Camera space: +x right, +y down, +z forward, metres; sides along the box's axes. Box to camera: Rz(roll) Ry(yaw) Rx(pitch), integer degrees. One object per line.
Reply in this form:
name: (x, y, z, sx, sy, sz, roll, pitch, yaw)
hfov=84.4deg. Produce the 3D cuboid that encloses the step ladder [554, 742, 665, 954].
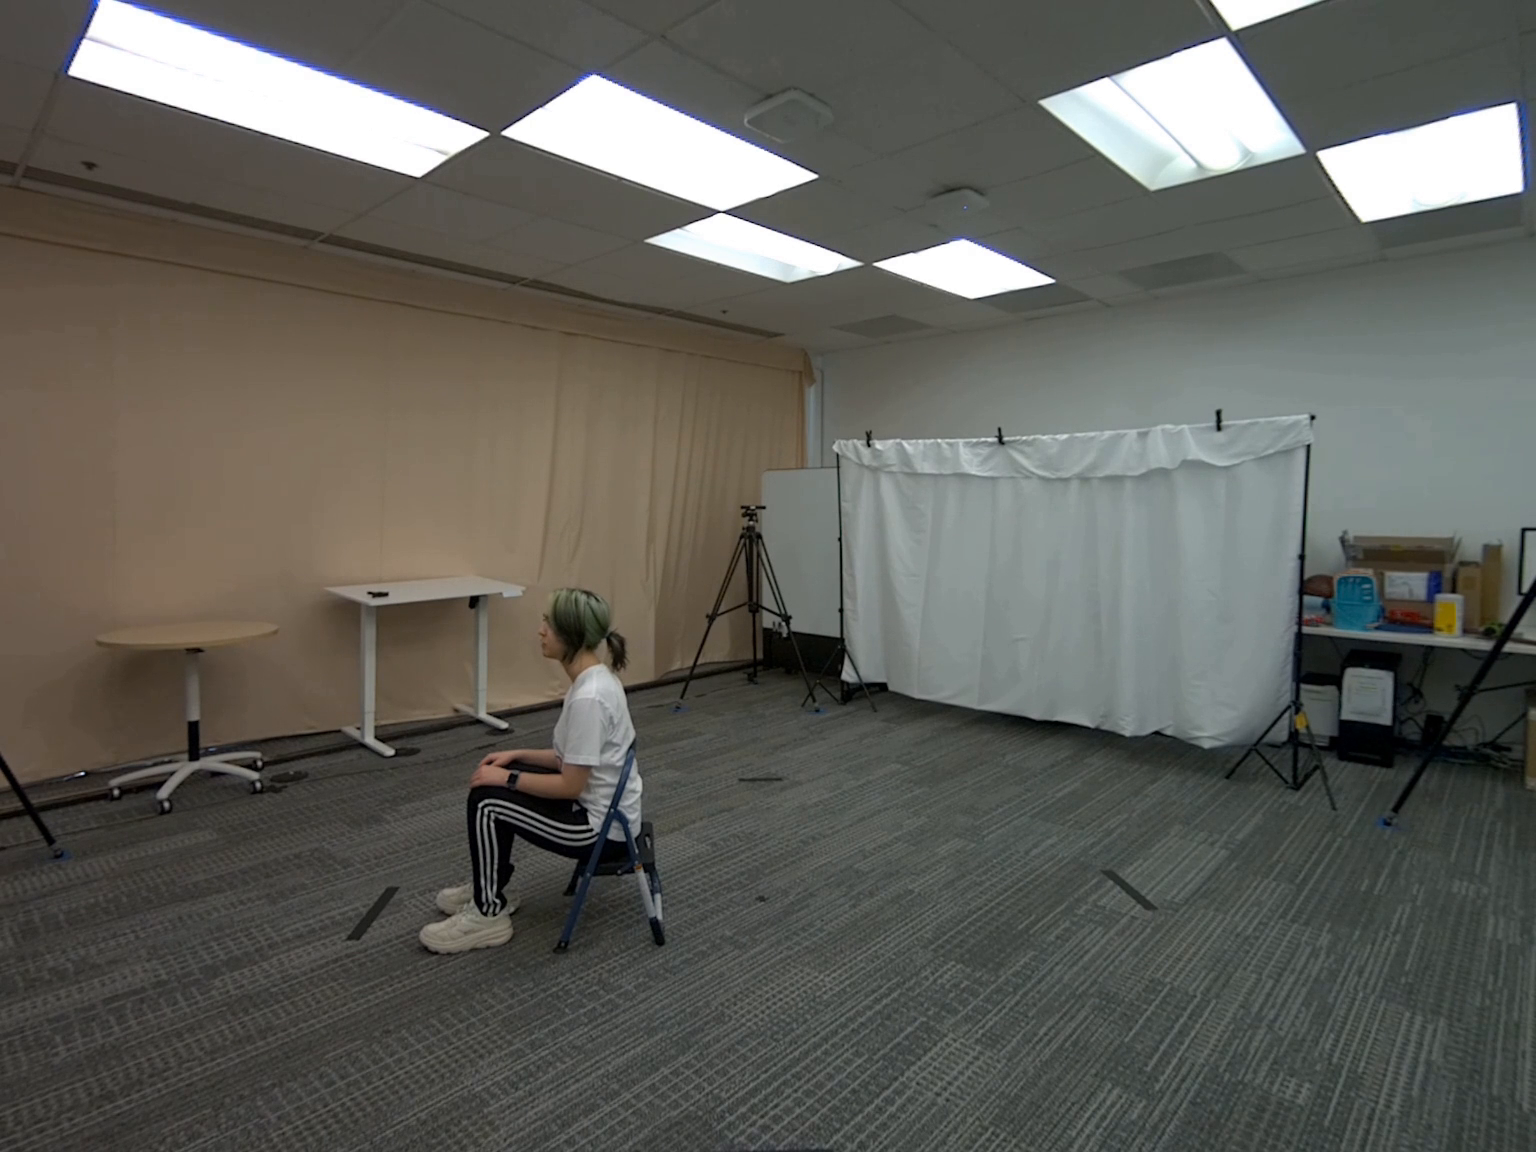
step ladder: (-0.531, 0.866, 2.833, 0.346, 0.605, 0.435, -2, 4, -8)
